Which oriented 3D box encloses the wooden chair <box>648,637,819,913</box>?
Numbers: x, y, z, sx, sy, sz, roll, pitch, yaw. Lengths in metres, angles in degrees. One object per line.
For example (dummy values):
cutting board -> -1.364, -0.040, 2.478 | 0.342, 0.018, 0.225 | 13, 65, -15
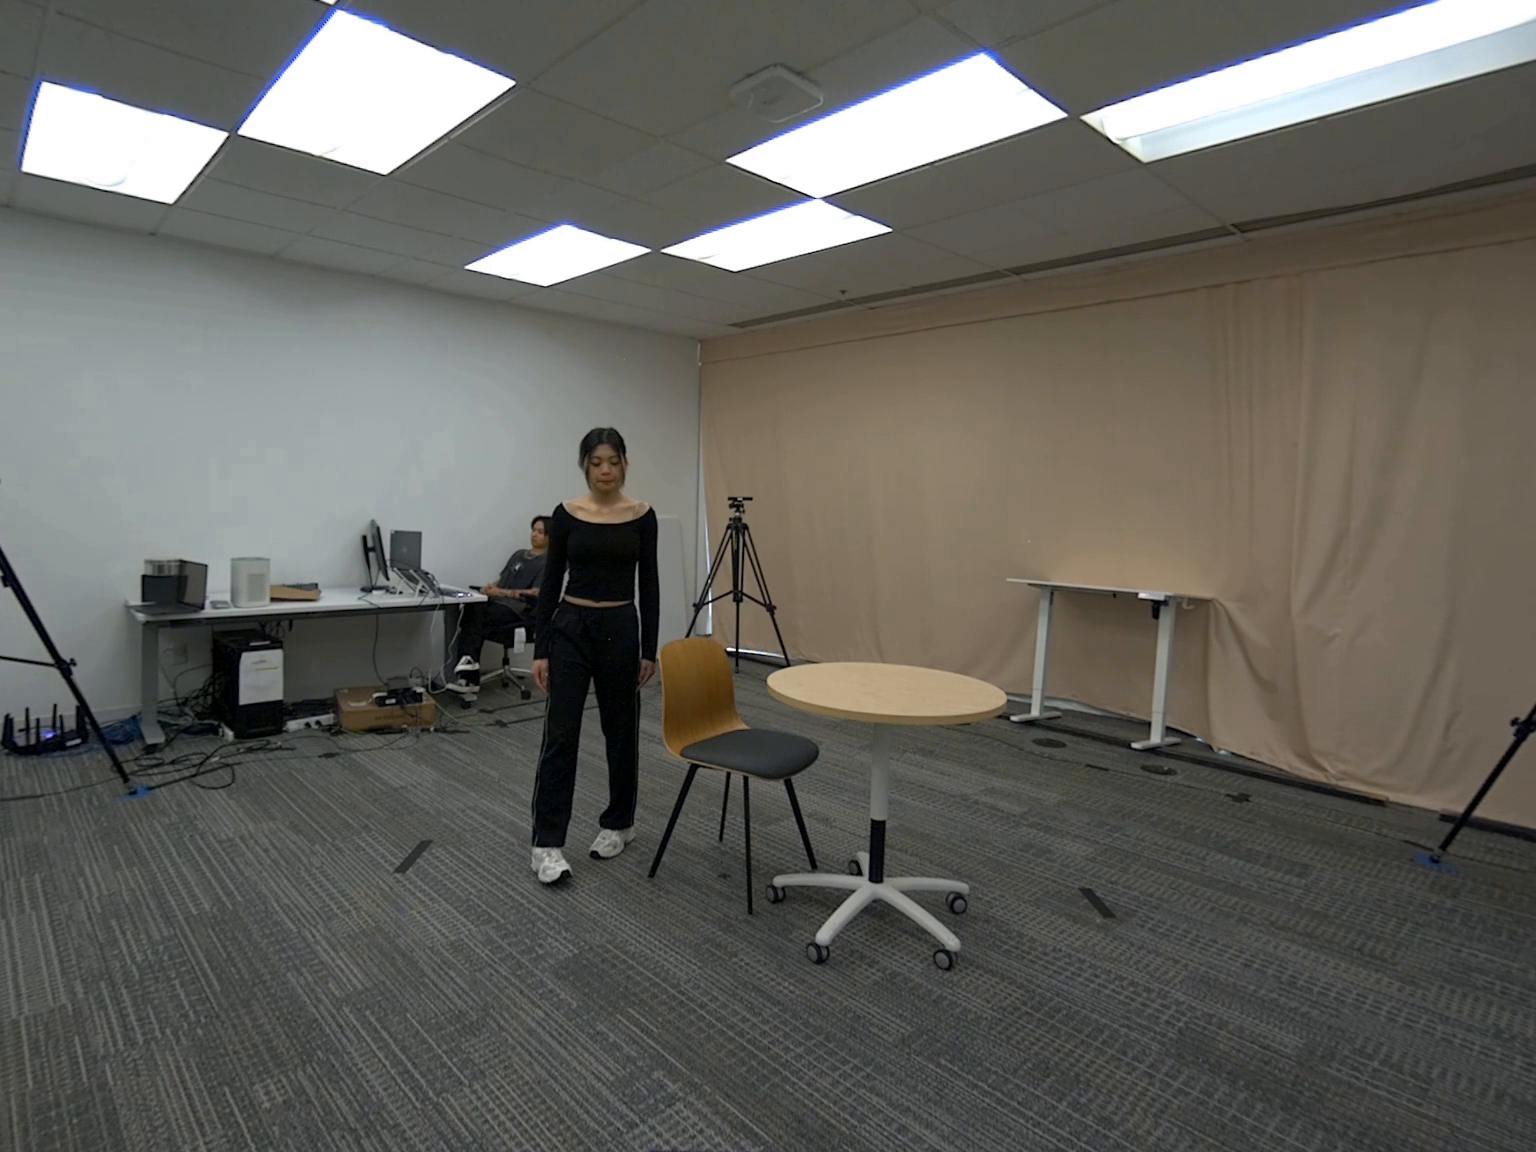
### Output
wooden chair -> -0.118, 0.680, 3.093 | 0.534, 0.877, 0.468 | -2, 1, 35
